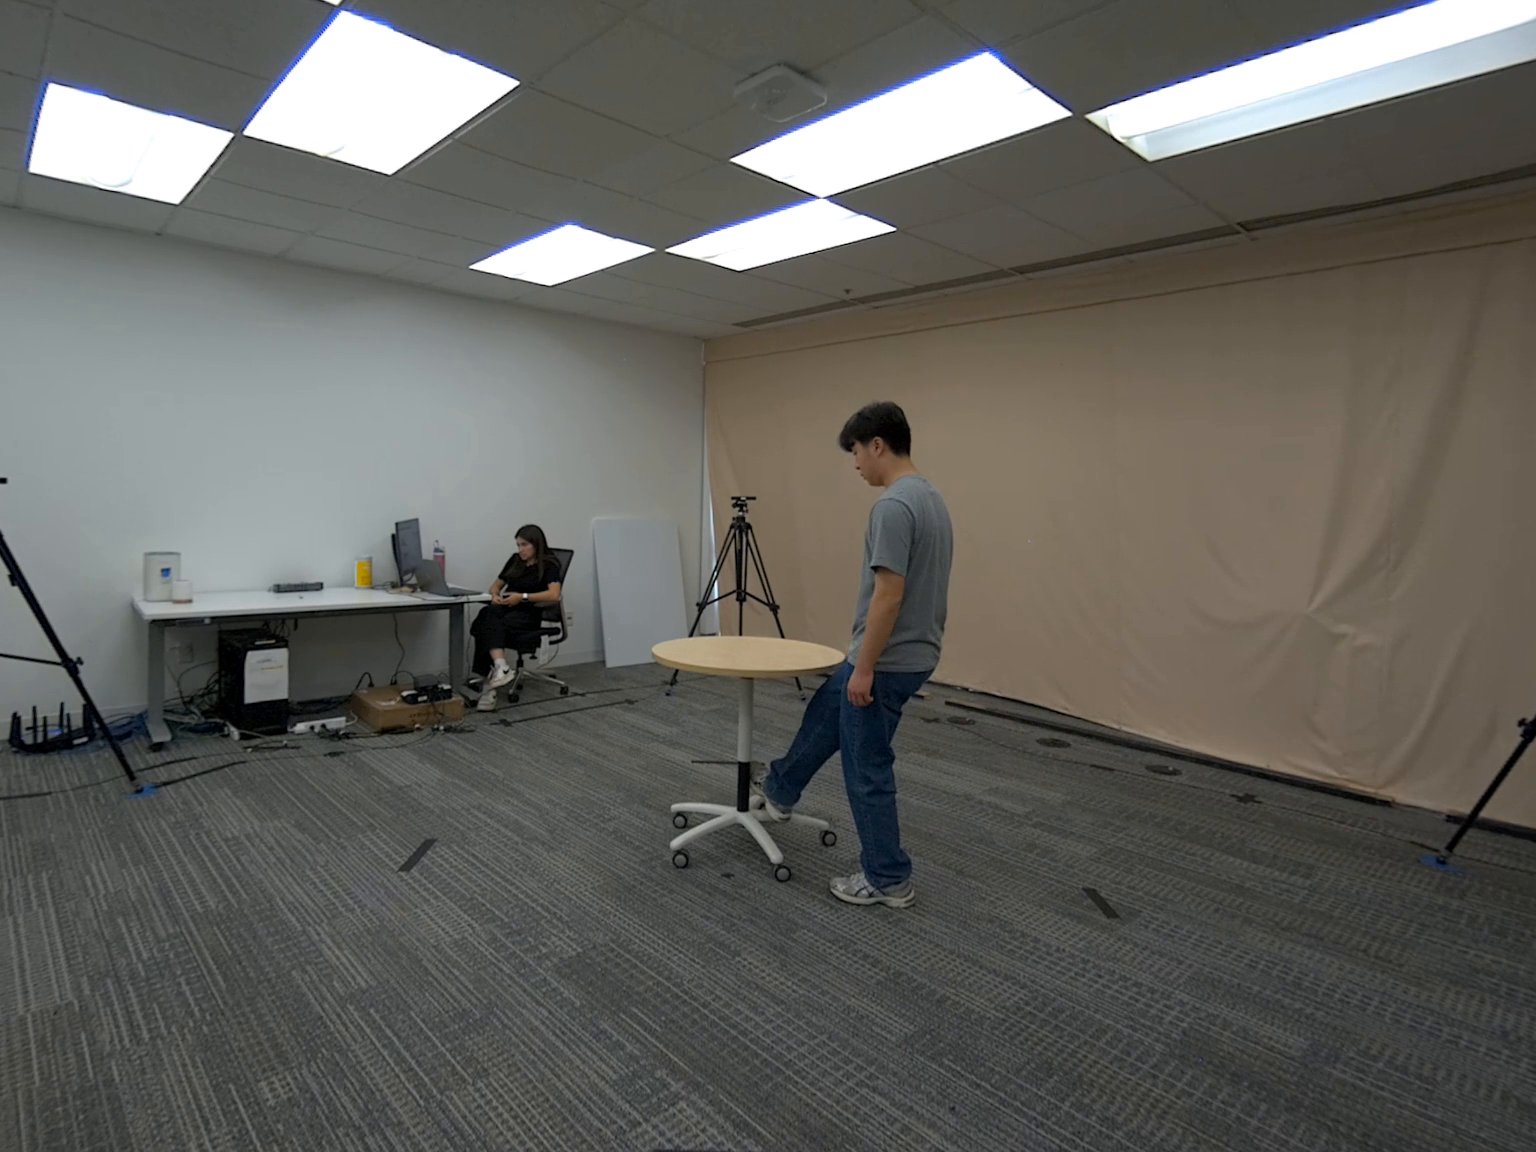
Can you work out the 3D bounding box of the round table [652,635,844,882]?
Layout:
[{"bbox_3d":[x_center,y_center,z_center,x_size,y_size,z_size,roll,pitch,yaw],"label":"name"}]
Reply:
[{"bbox_3d":[-0.098,0.695,3.365,0.763,0.792,0.766,2,4,-1],"label":"round table"}]
